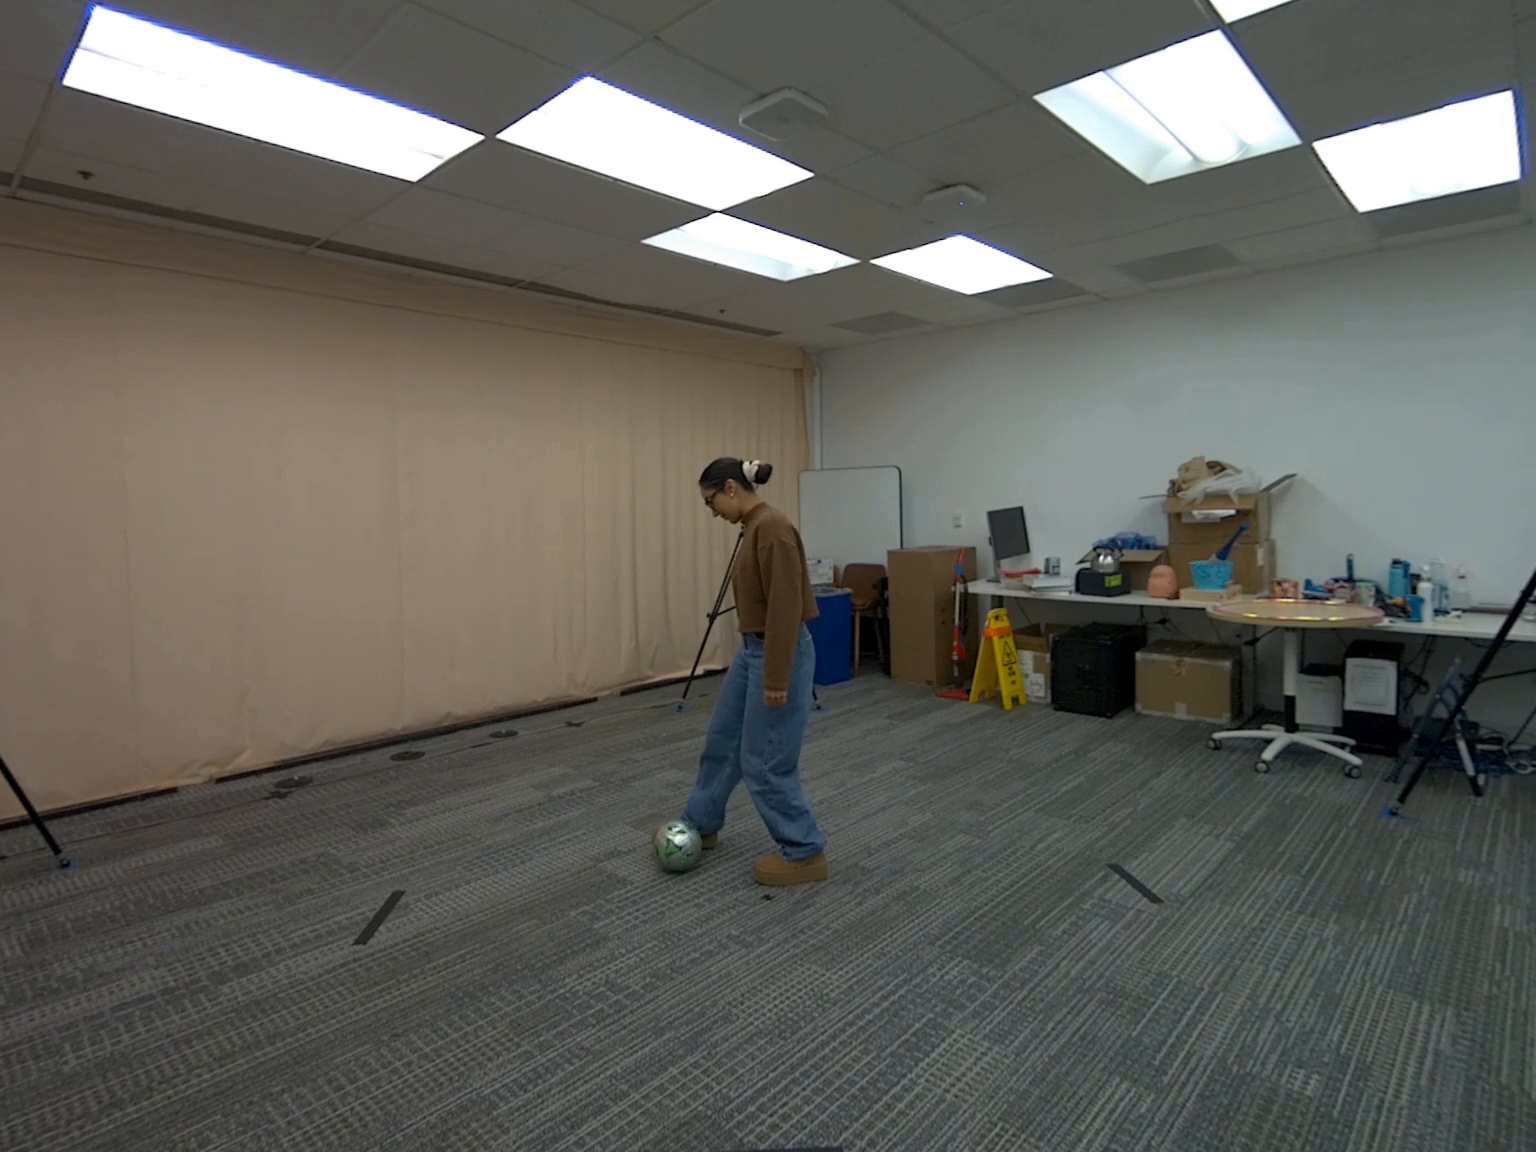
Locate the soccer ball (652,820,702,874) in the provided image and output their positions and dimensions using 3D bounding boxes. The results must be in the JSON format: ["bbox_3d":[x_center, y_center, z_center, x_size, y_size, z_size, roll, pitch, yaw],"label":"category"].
[{"bbox_3d":[-0.346,1.030,3.225,0.187,0.187,0.188,-1,4,-2],"label":"soccer ball"}]
